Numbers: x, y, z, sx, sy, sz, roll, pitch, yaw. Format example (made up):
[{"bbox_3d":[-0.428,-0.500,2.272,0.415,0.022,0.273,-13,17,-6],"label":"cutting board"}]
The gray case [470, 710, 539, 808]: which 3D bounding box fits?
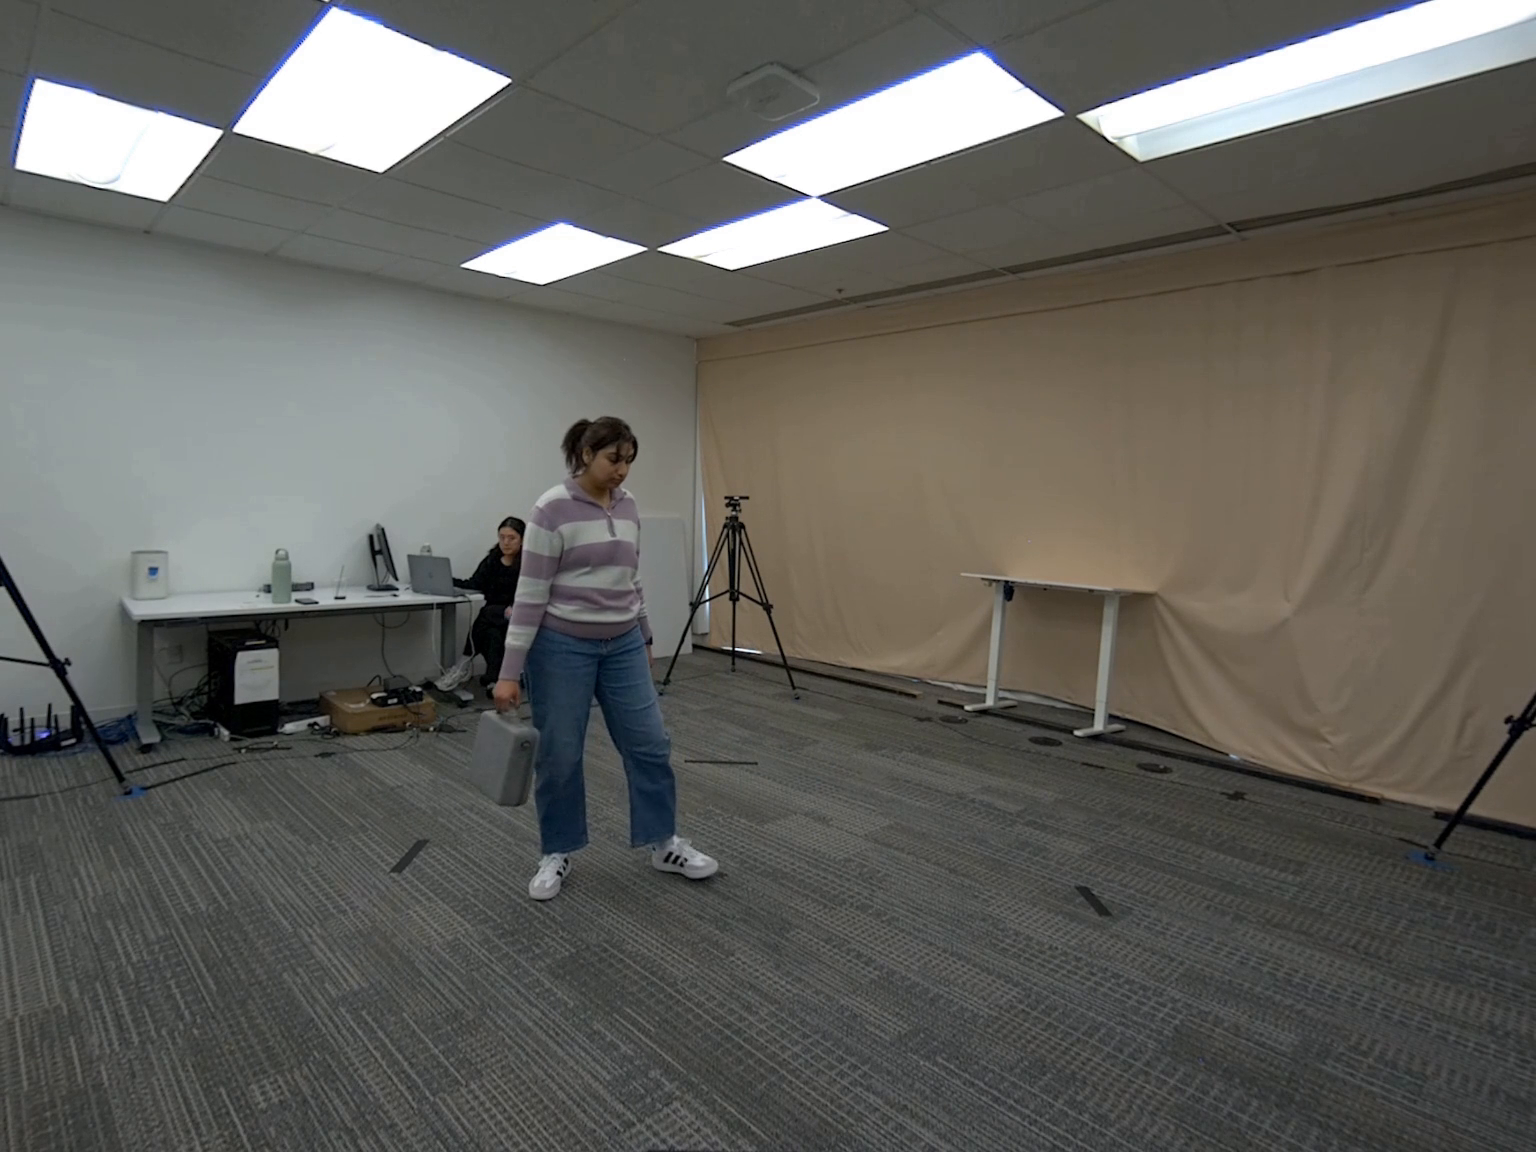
[{"bbox_3d":[-0.862,0.586,2.727,0.101,0.260,0.264,11,0,-43],"label":"gray case"}]
